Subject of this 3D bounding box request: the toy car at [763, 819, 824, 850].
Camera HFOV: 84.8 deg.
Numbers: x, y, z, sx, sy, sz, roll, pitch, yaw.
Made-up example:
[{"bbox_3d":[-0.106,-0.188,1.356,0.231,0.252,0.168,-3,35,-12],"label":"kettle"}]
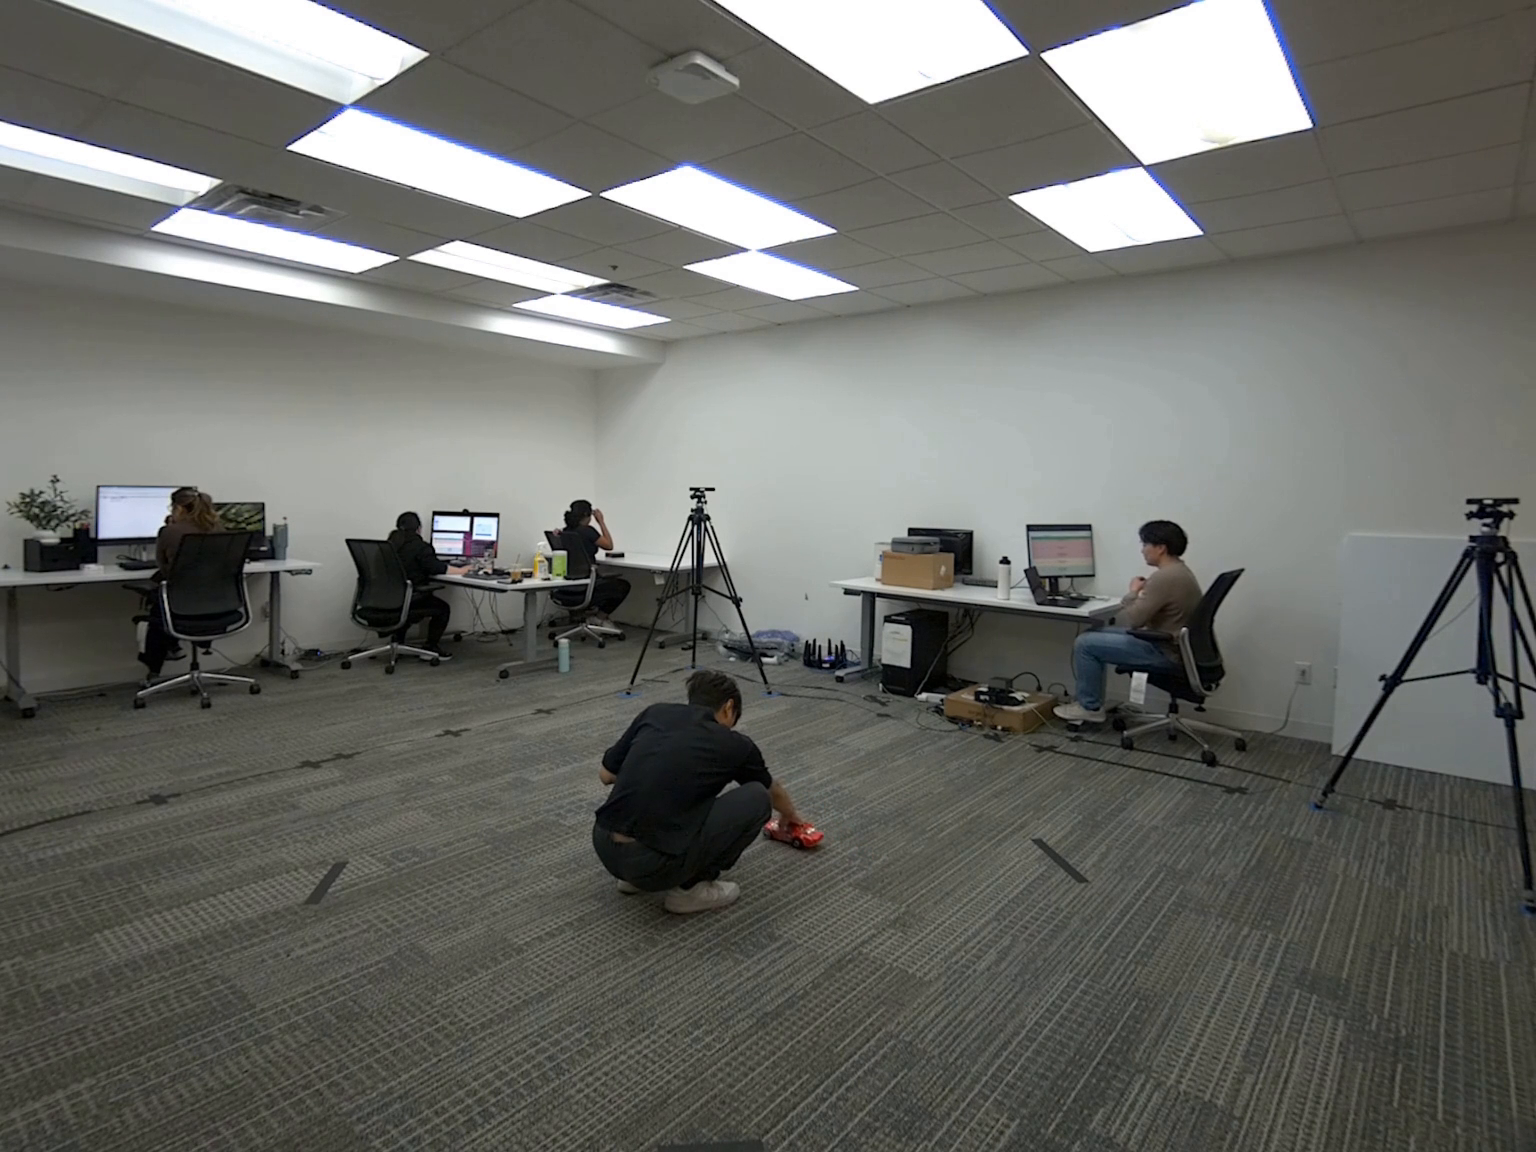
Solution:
[{"bbox_3d":[0.095,1.017,3.365,0.261,0.083,0.126,-8,-4,38],"label":"toy car"}]
